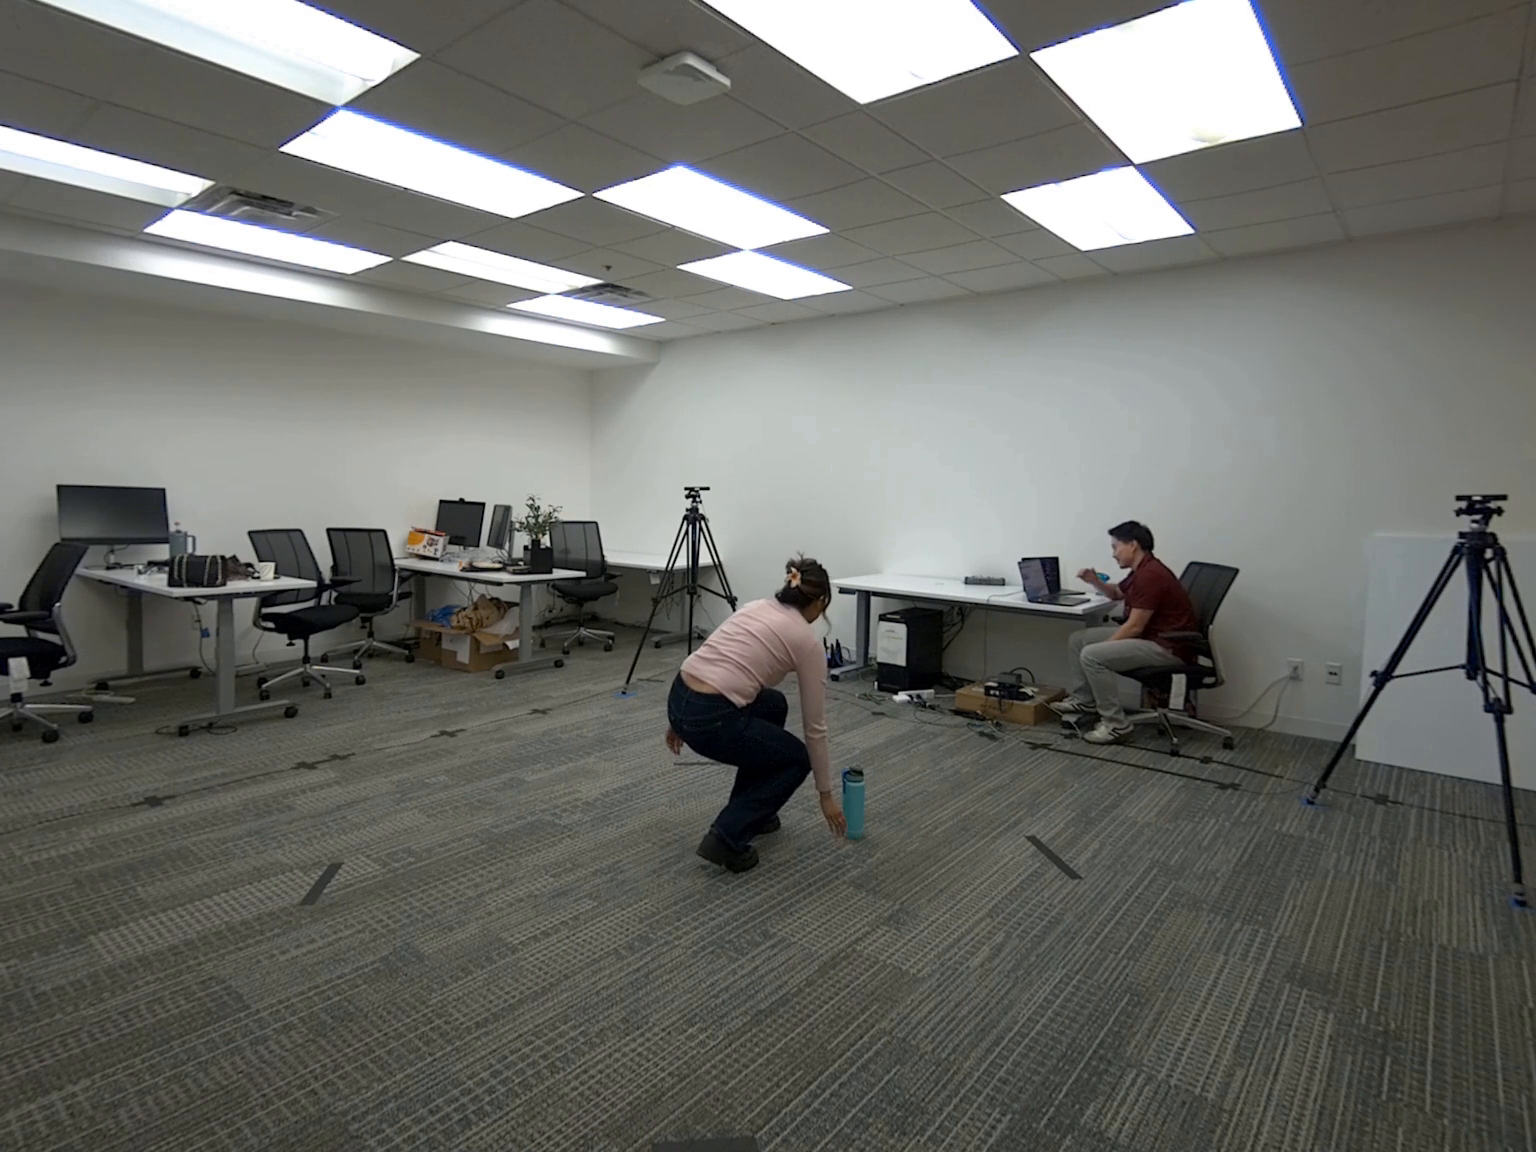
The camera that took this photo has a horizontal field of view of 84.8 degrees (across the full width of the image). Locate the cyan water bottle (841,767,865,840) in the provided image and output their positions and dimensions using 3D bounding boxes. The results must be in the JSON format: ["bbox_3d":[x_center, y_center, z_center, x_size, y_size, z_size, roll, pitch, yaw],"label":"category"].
[{"bbox_3d":[0.333,0.903,3.434,0.092,0.282,0.093,-1,3,-2],"label":"cyan water bottle"}]
